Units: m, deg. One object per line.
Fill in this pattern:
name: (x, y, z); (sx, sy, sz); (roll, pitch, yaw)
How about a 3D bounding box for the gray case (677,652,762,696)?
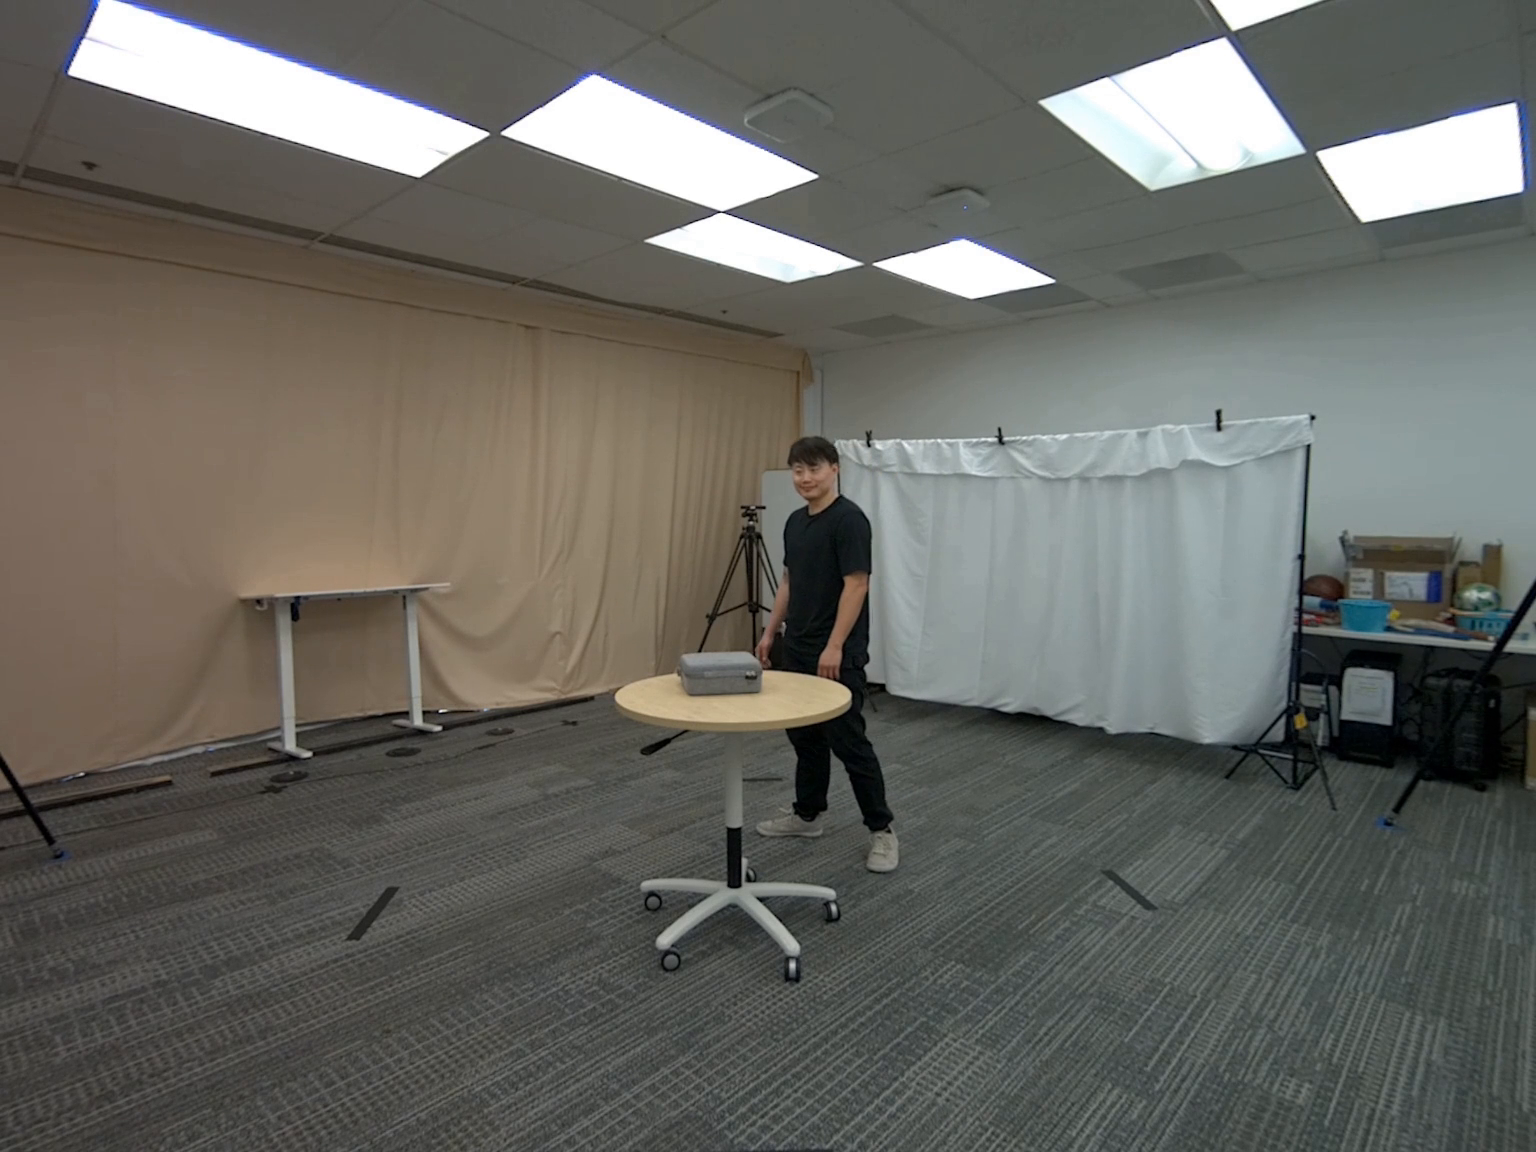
gray case: (-0.164, 0.323, 2.836); (0.254, 0.104, 0.264); (-3, 4, -10)
